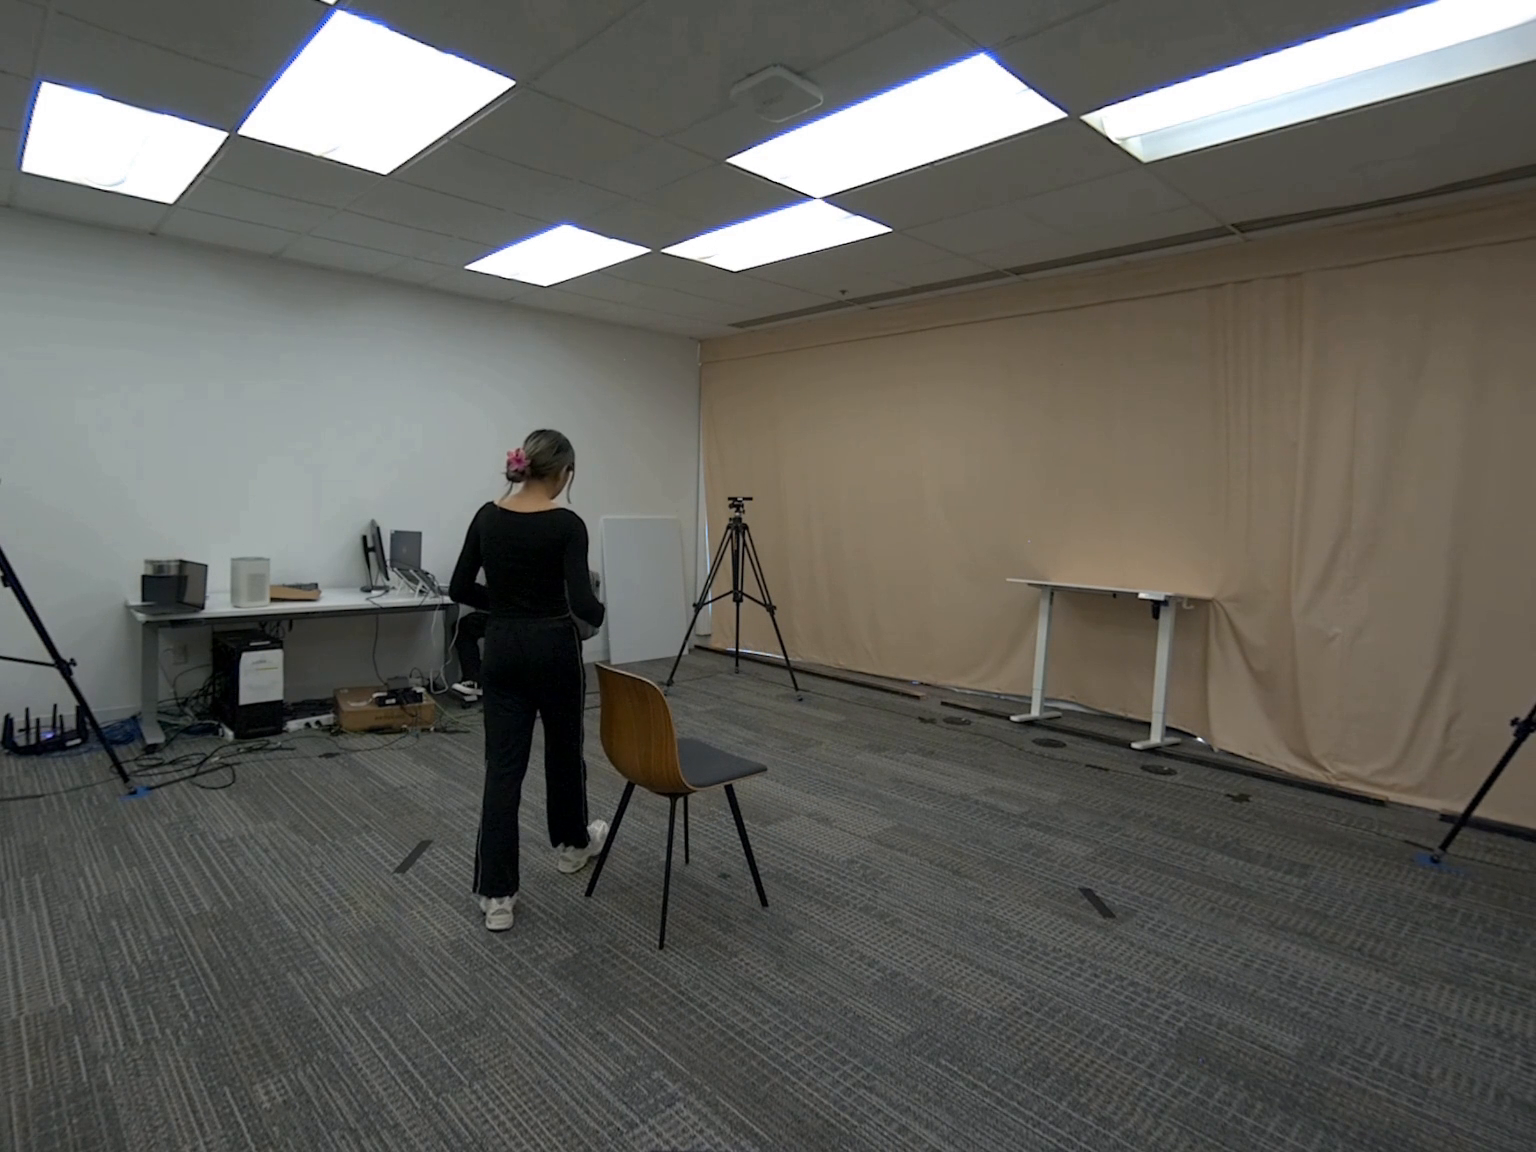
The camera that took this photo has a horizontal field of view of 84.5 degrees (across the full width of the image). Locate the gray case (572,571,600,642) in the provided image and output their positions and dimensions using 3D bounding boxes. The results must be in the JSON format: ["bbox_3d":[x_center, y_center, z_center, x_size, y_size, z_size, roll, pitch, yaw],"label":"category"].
[{"bbox_3d":[-0.747,0.094,3.101,0.260,0.261,0.103,0,-4,15],"label":"gray case"}]
